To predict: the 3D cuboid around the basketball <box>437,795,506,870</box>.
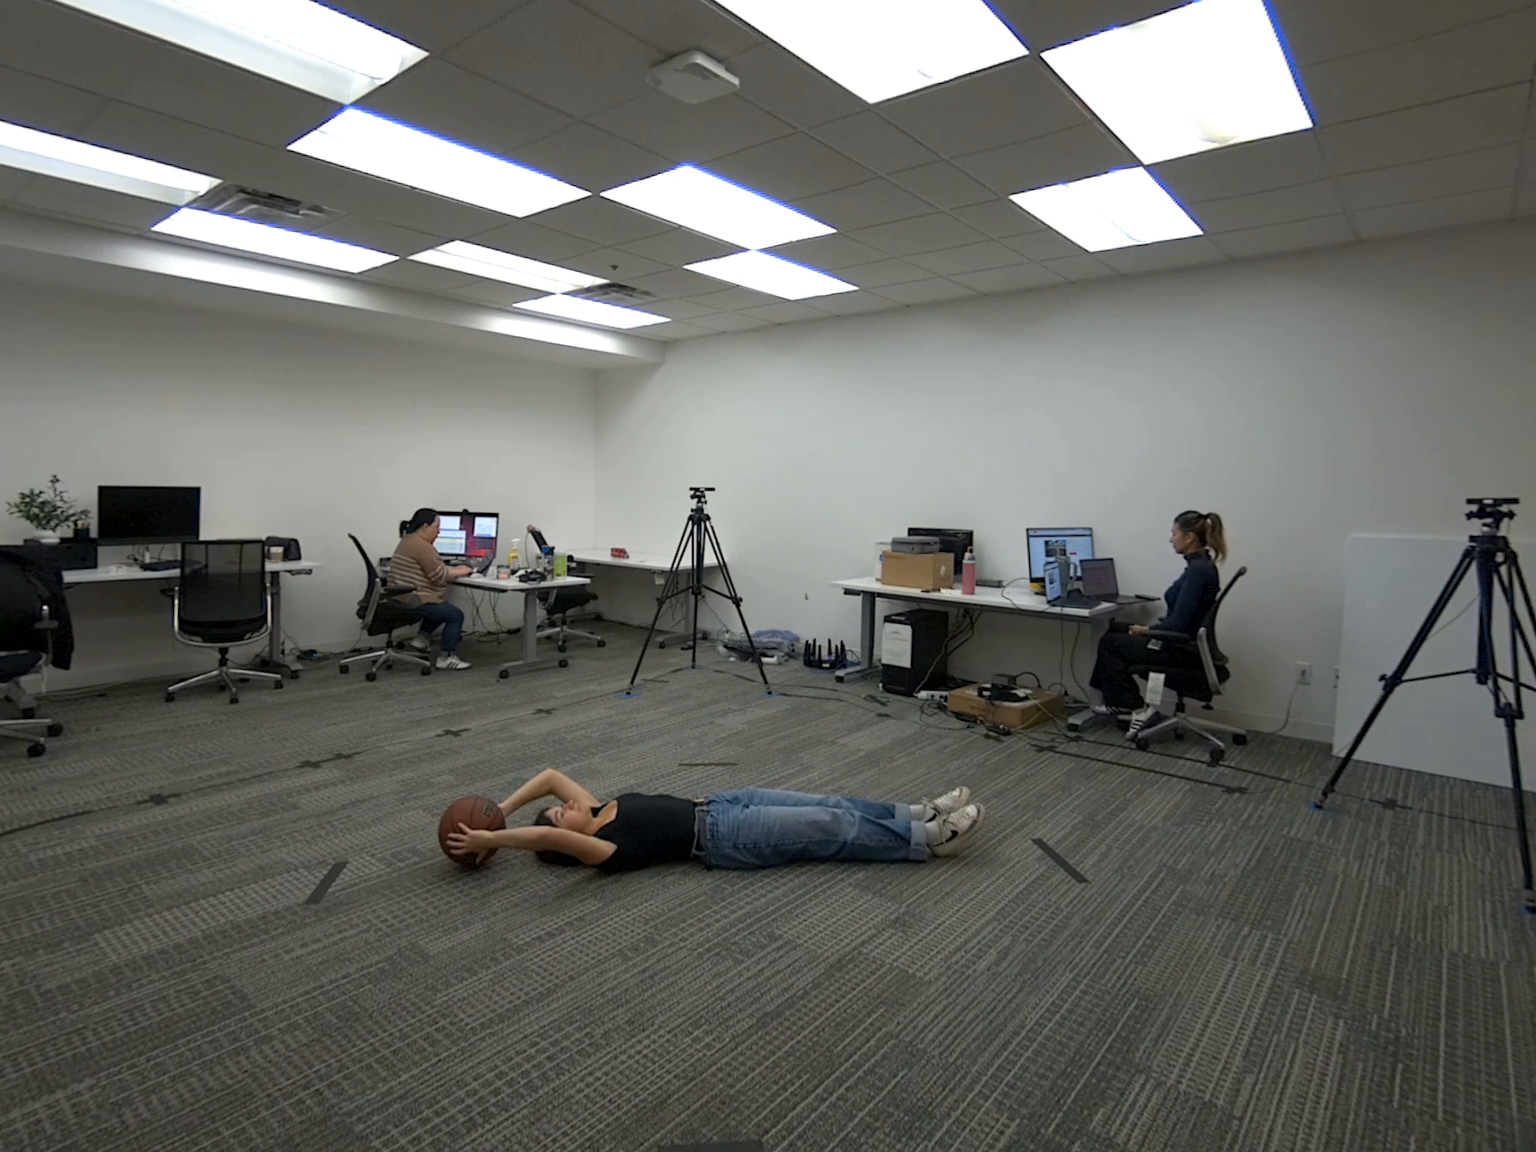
[{"bbox_3d":[-1.091,0.919,3.098,0.235,0.235,0.237,1,4,-2],"label":"basketball"}]
